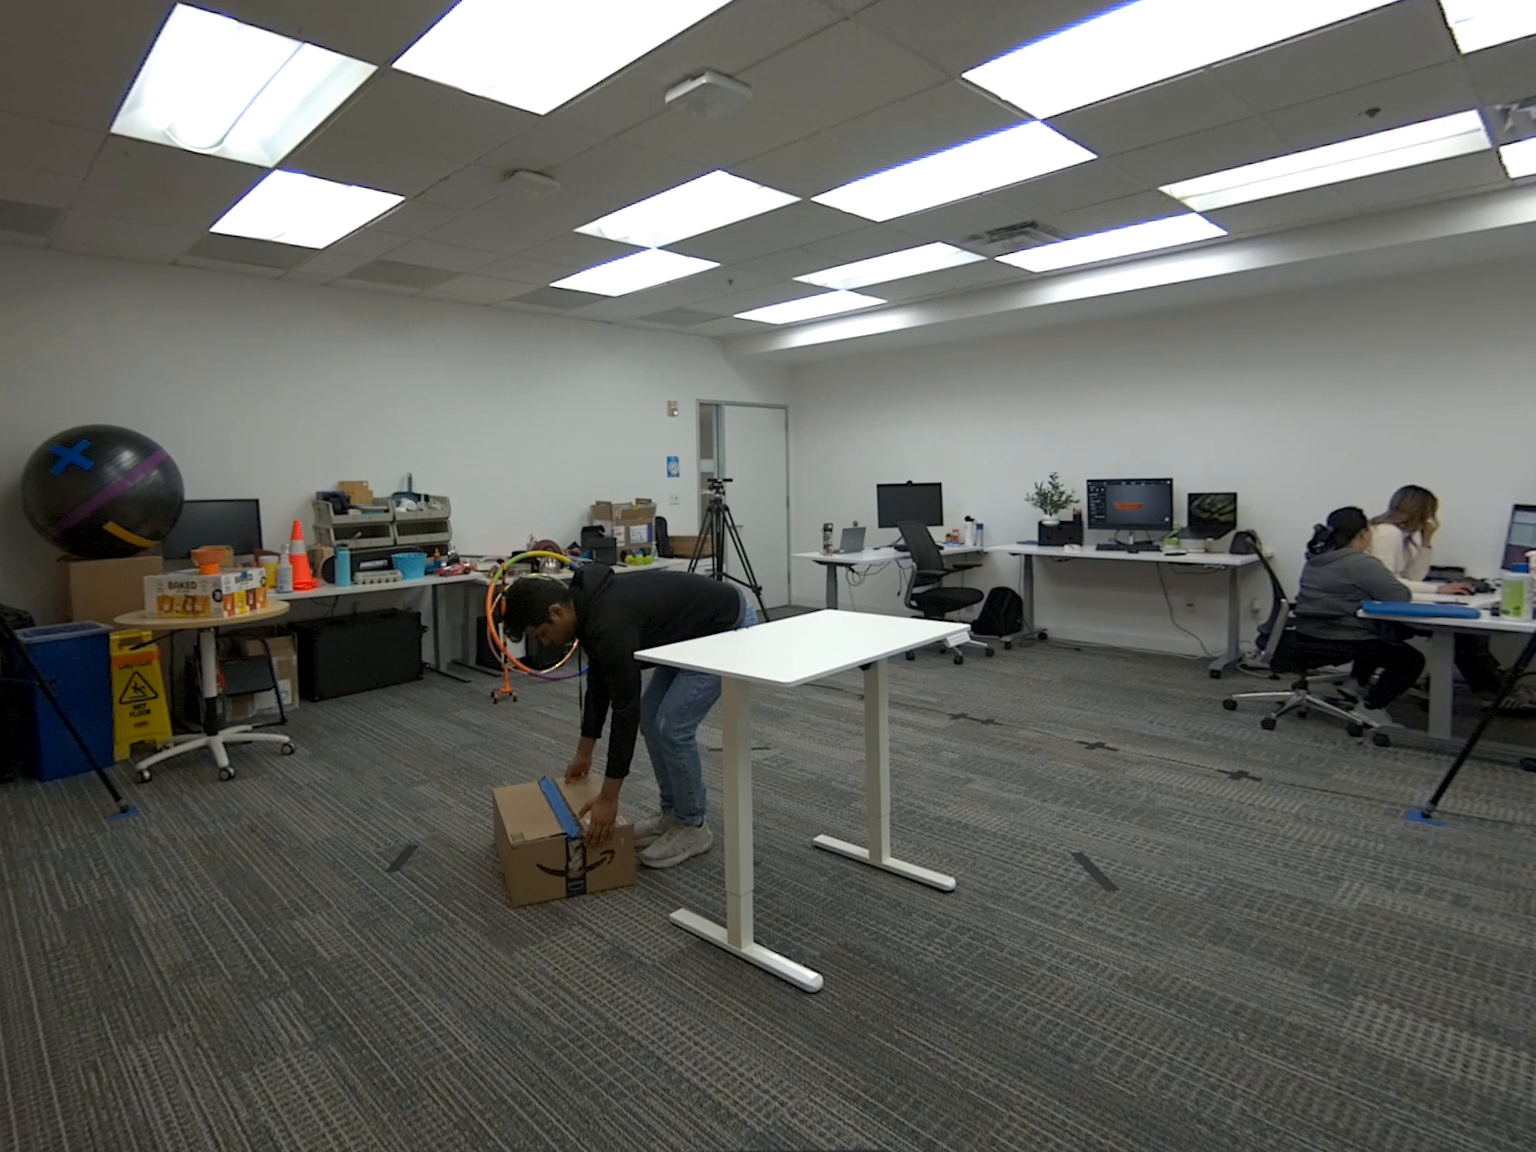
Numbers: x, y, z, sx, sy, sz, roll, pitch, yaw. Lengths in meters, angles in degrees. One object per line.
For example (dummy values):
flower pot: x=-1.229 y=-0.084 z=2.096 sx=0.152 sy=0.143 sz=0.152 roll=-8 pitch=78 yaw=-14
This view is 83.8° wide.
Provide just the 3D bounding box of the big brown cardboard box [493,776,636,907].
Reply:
big brown cardboard box: x=-0.757 y=0.936 z=3.129 sx=0.410 sy=0.232 sz=0.602 roll=-5 pitch=6 yaw=-23
